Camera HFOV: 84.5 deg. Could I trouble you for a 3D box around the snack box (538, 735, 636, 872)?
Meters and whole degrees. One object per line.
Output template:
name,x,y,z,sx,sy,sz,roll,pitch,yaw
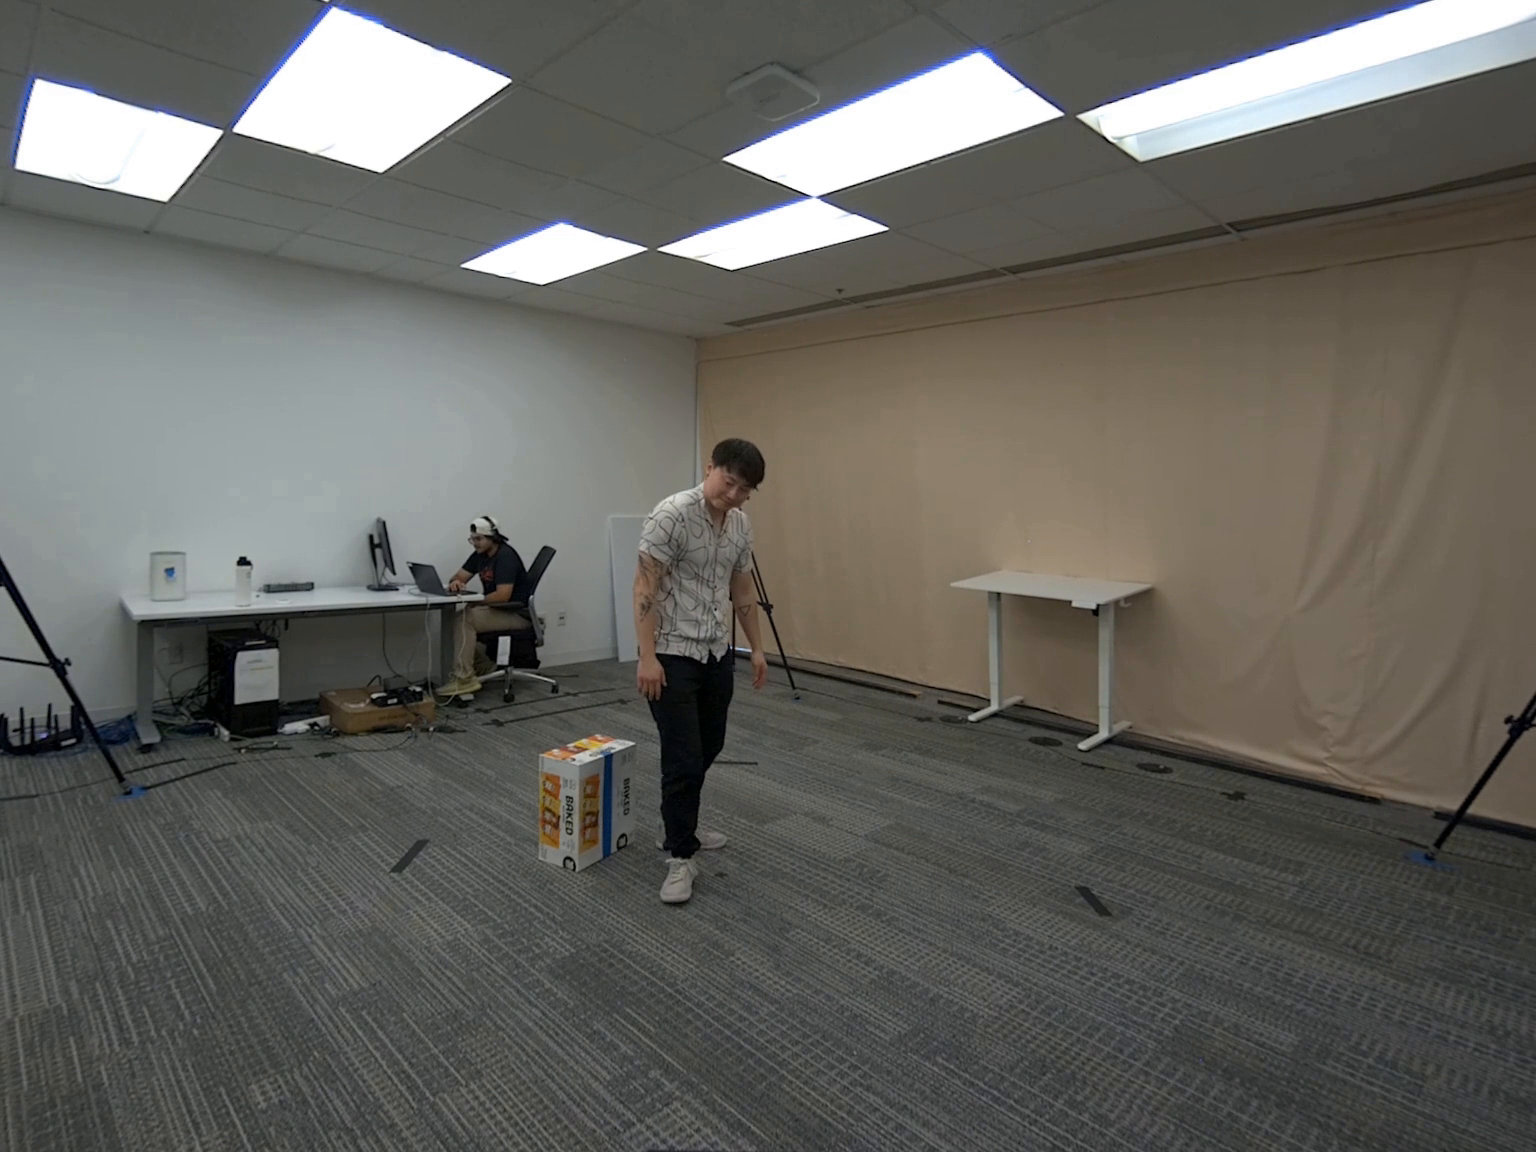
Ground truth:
snack box,-0.705,0.871,3.276,0.210,0.404,0.334,4,5,30
